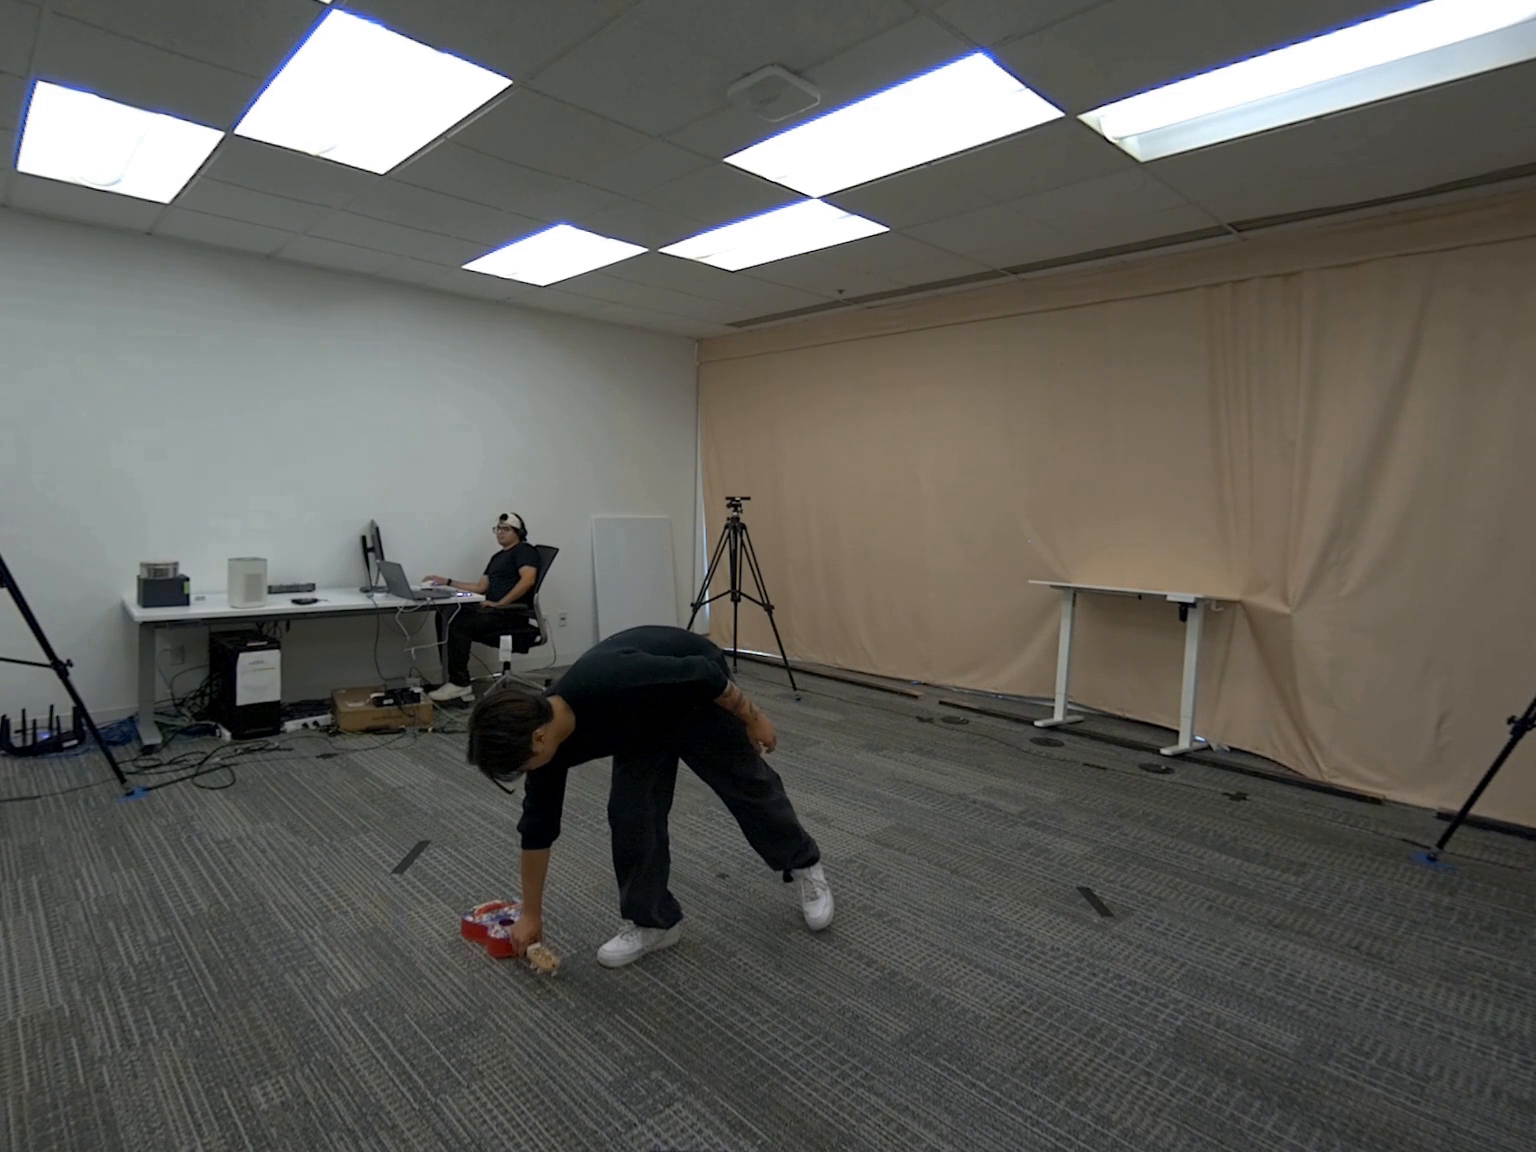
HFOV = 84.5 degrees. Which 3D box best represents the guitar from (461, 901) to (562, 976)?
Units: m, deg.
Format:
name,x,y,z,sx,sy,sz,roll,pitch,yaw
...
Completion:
name,x,y,z,sx,sy,sz,roll,pitch,yaw
guitar,-0.787,1.100,2.540,0.189,0.070,0.509,-3,5,-31
